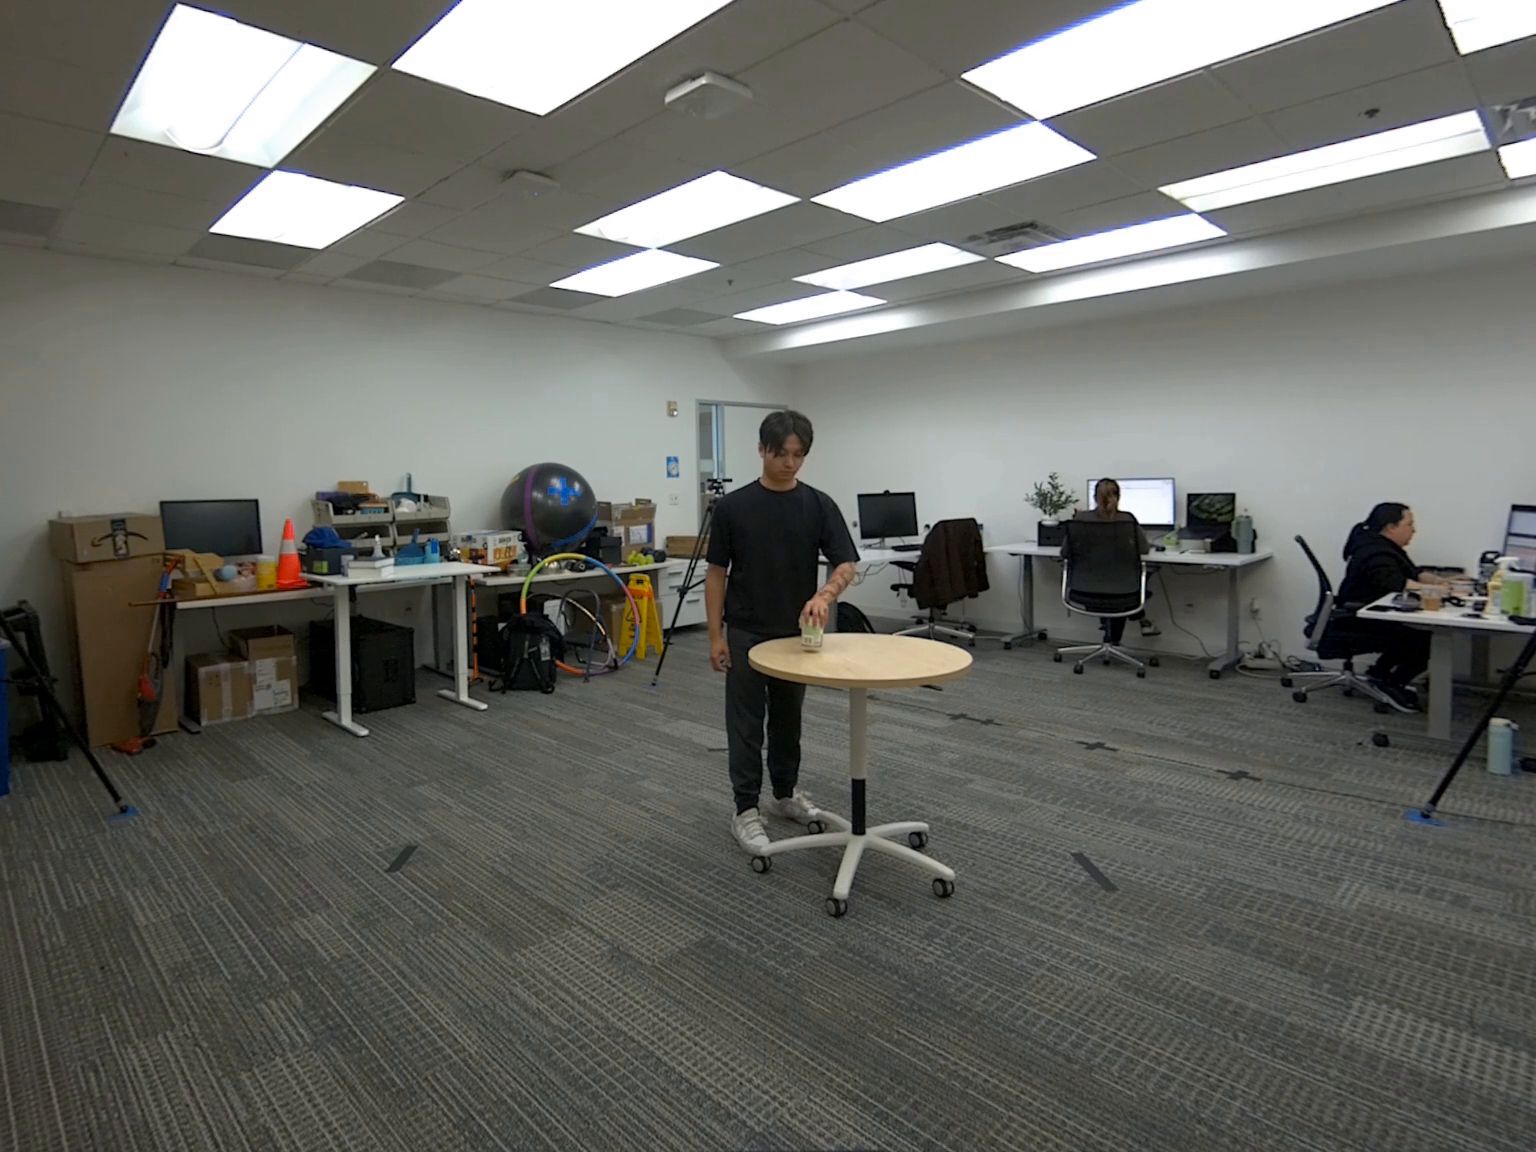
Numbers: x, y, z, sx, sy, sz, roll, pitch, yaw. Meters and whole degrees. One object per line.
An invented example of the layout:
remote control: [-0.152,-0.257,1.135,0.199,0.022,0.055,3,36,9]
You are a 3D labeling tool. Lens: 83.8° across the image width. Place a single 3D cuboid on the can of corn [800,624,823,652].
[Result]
can of corn: [0.166,0.198,3.017,0.074,0.111,0.074,4,2,-2]
